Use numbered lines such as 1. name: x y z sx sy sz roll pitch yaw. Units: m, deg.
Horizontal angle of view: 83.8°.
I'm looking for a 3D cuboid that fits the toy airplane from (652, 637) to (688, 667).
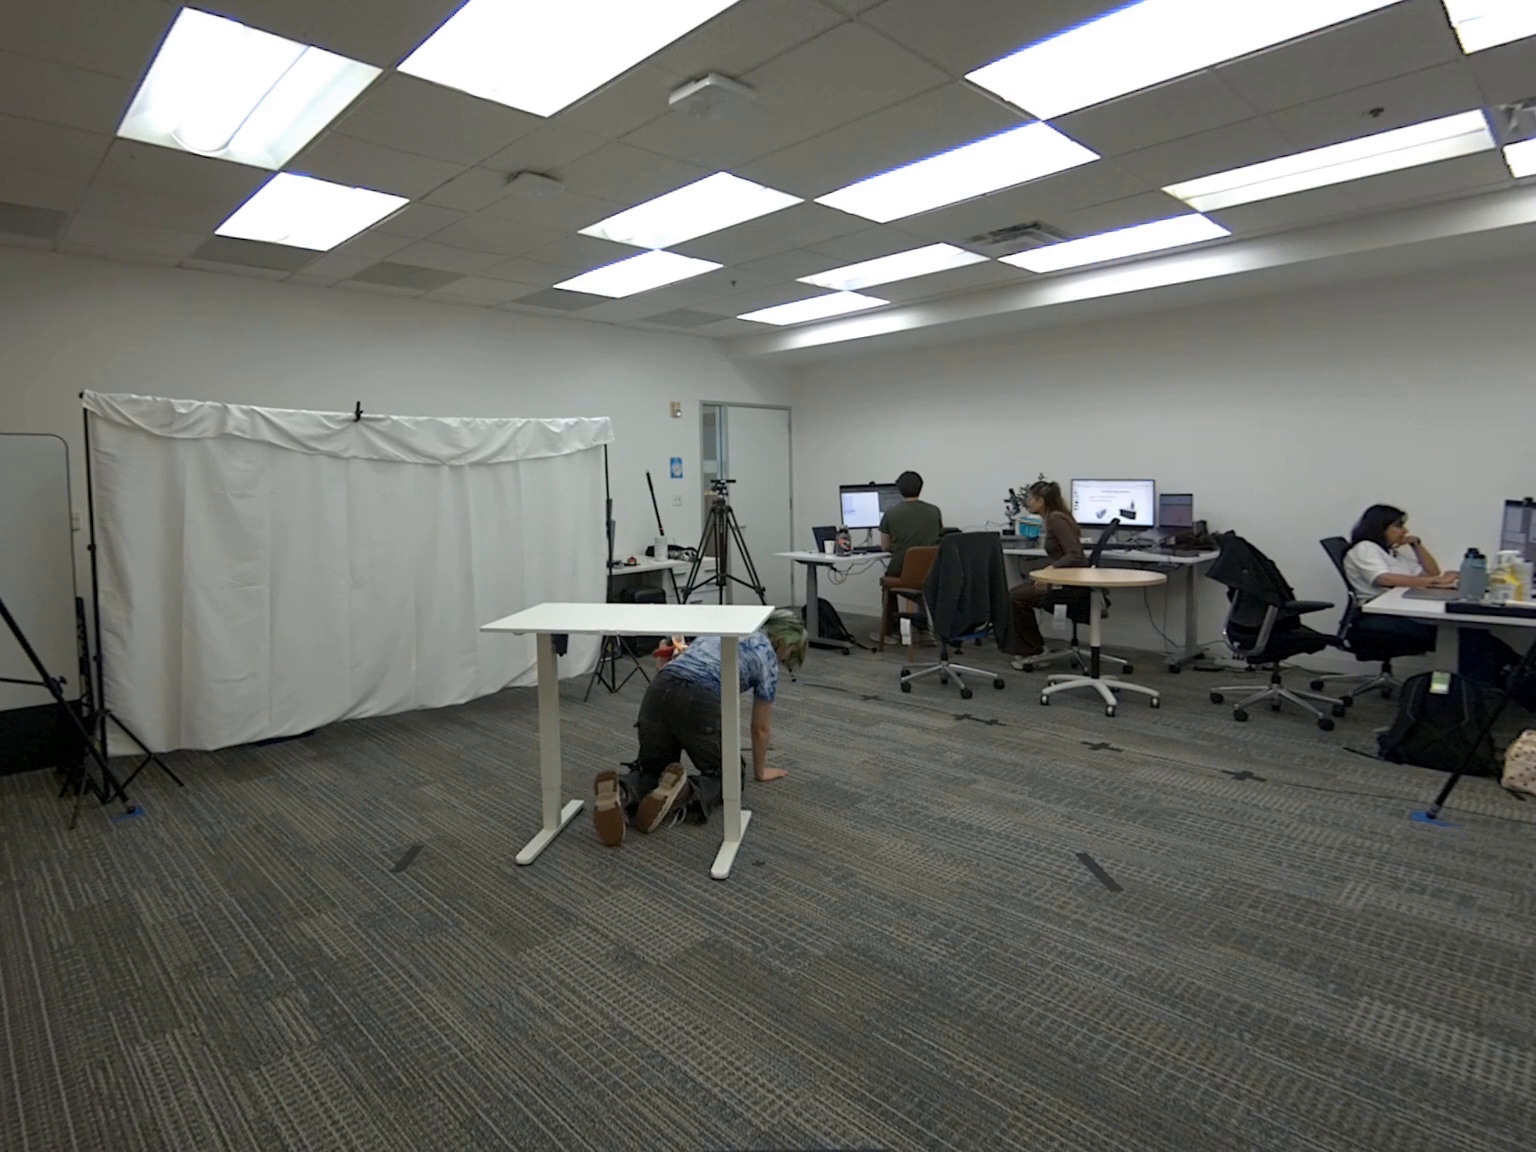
1. toy airplane: -0.407 0.392 4.038 0.252 0.162 0.250 -24 -34 4
